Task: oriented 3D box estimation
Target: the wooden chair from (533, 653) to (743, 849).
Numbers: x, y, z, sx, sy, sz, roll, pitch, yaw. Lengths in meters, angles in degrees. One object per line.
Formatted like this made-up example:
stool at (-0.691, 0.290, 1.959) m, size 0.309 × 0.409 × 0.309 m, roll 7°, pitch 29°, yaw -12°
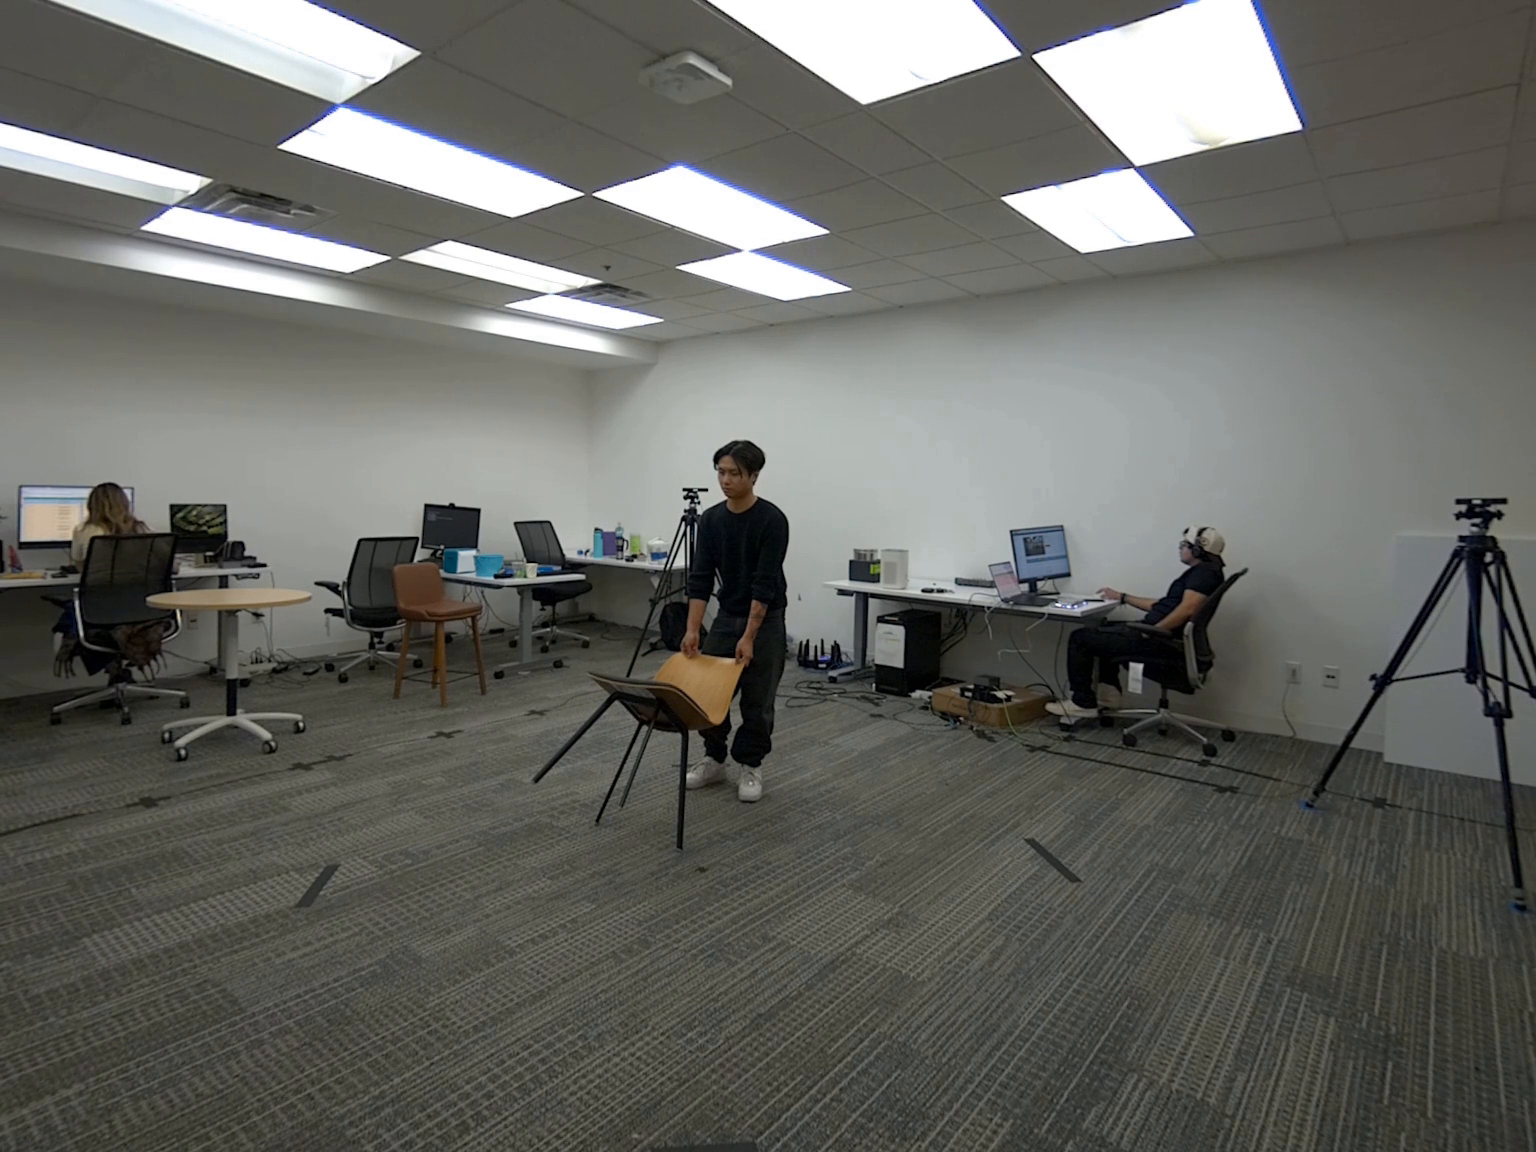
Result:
wooden chair at (-0.489, 0.554, 3.415) m, size 0.493 × 0.886 × 0.502 m, roll 3°, pitch -37°, yaw 33°
